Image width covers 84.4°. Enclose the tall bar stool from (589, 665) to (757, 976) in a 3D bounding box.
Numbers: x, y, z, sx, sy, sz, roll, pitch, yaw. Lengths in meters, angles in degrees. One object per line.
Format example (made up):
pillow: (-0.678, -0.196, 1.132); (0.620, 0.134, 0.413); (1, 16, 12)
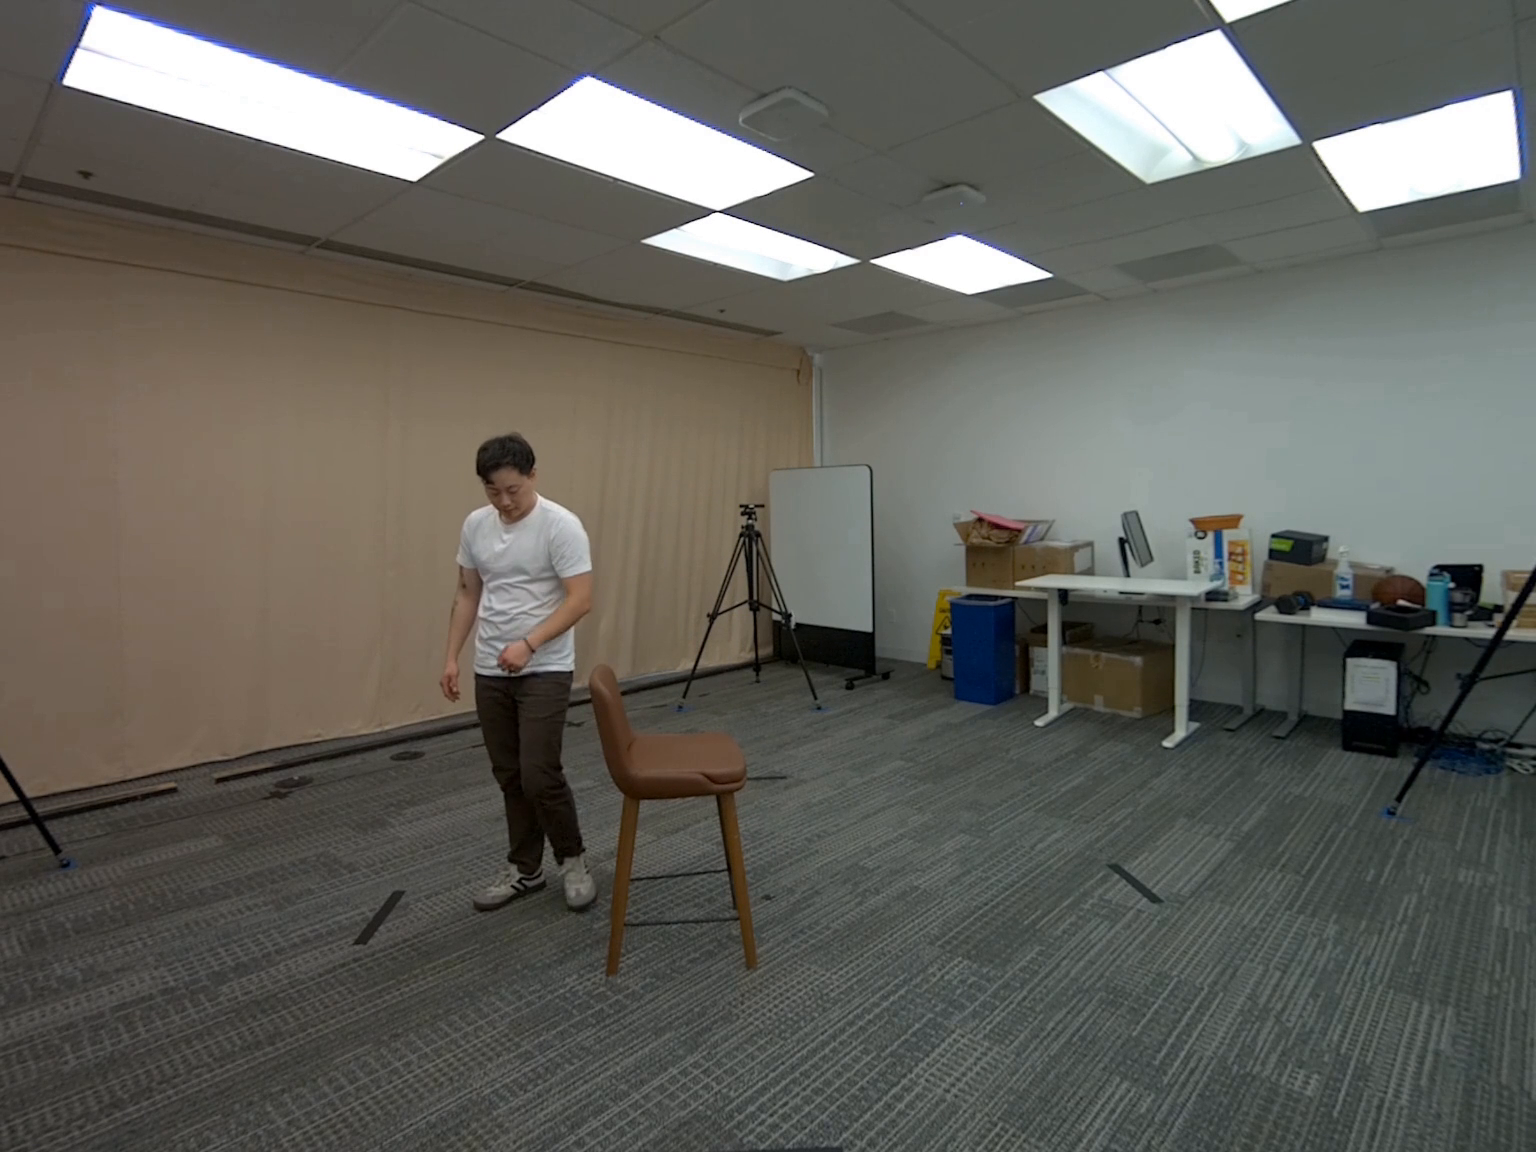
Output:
tall bar stool: (-0.301, 0.737, 2.682); (0.464, 0.888, 0.461); (-3, 3, -8)
